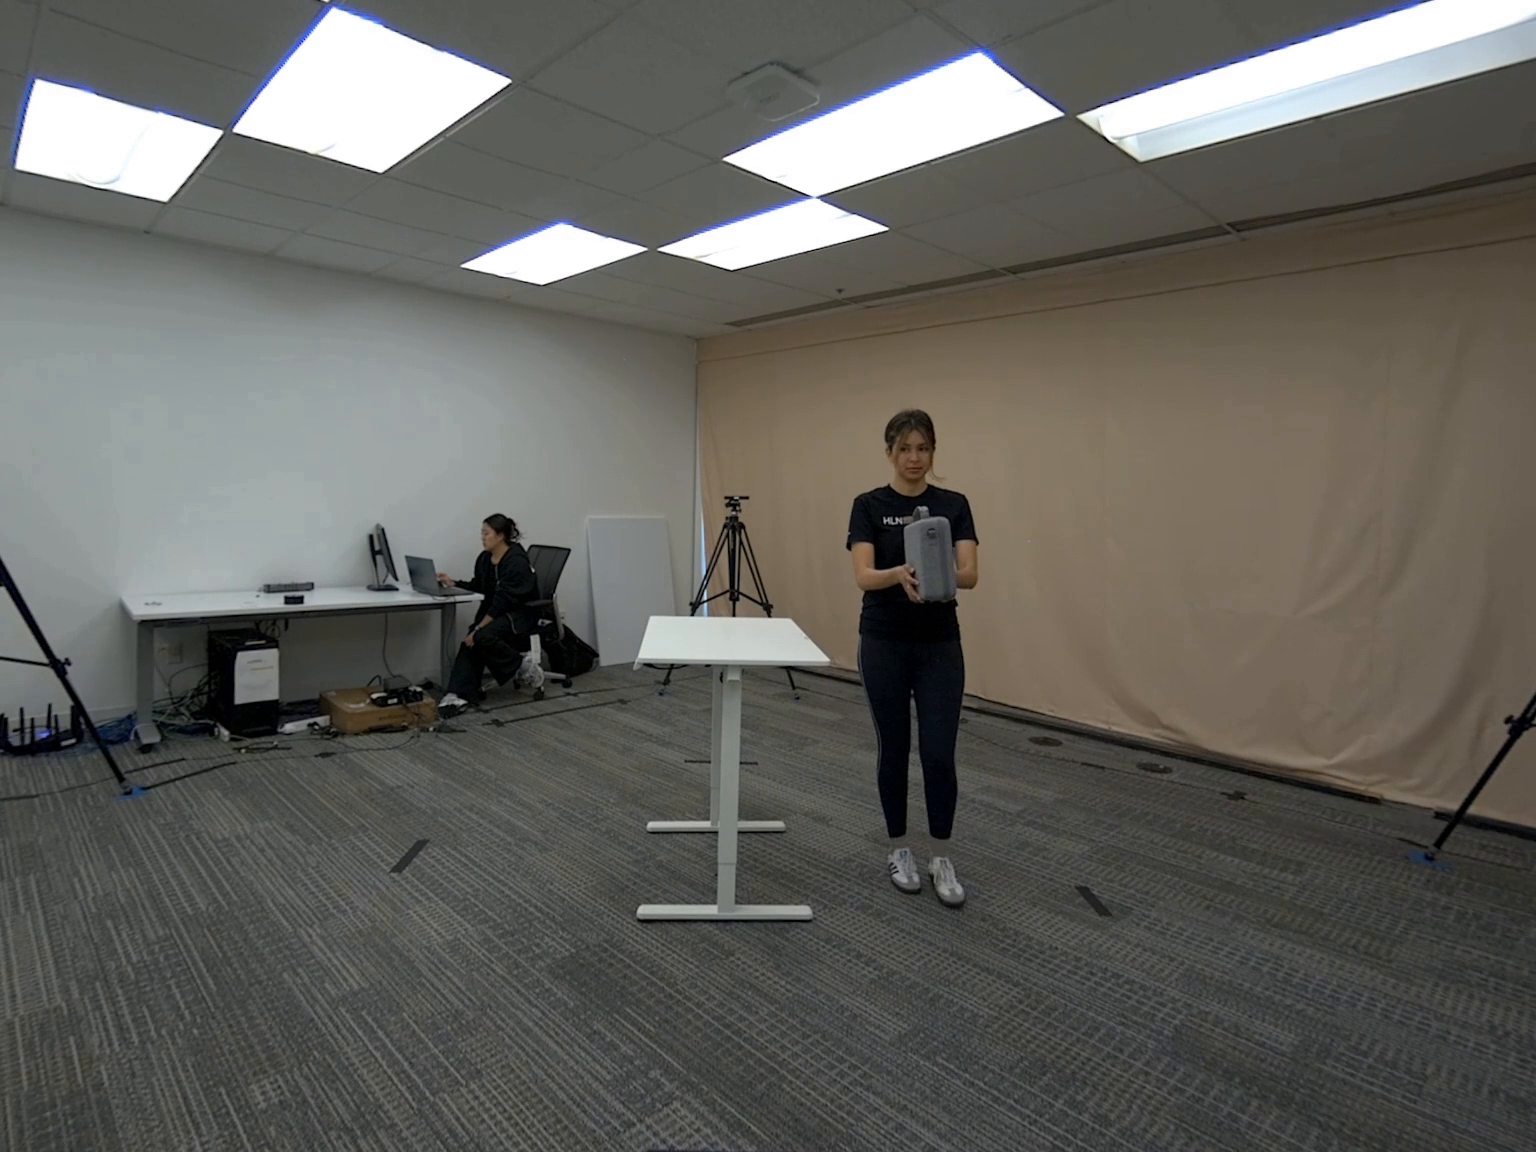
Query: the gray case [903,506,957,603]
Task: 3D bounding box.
[{"bbox_3d":[0.505,-0.054,2.657,0.104,0.261,0.256,-6,-3,-1],"label":"gray case"}]
